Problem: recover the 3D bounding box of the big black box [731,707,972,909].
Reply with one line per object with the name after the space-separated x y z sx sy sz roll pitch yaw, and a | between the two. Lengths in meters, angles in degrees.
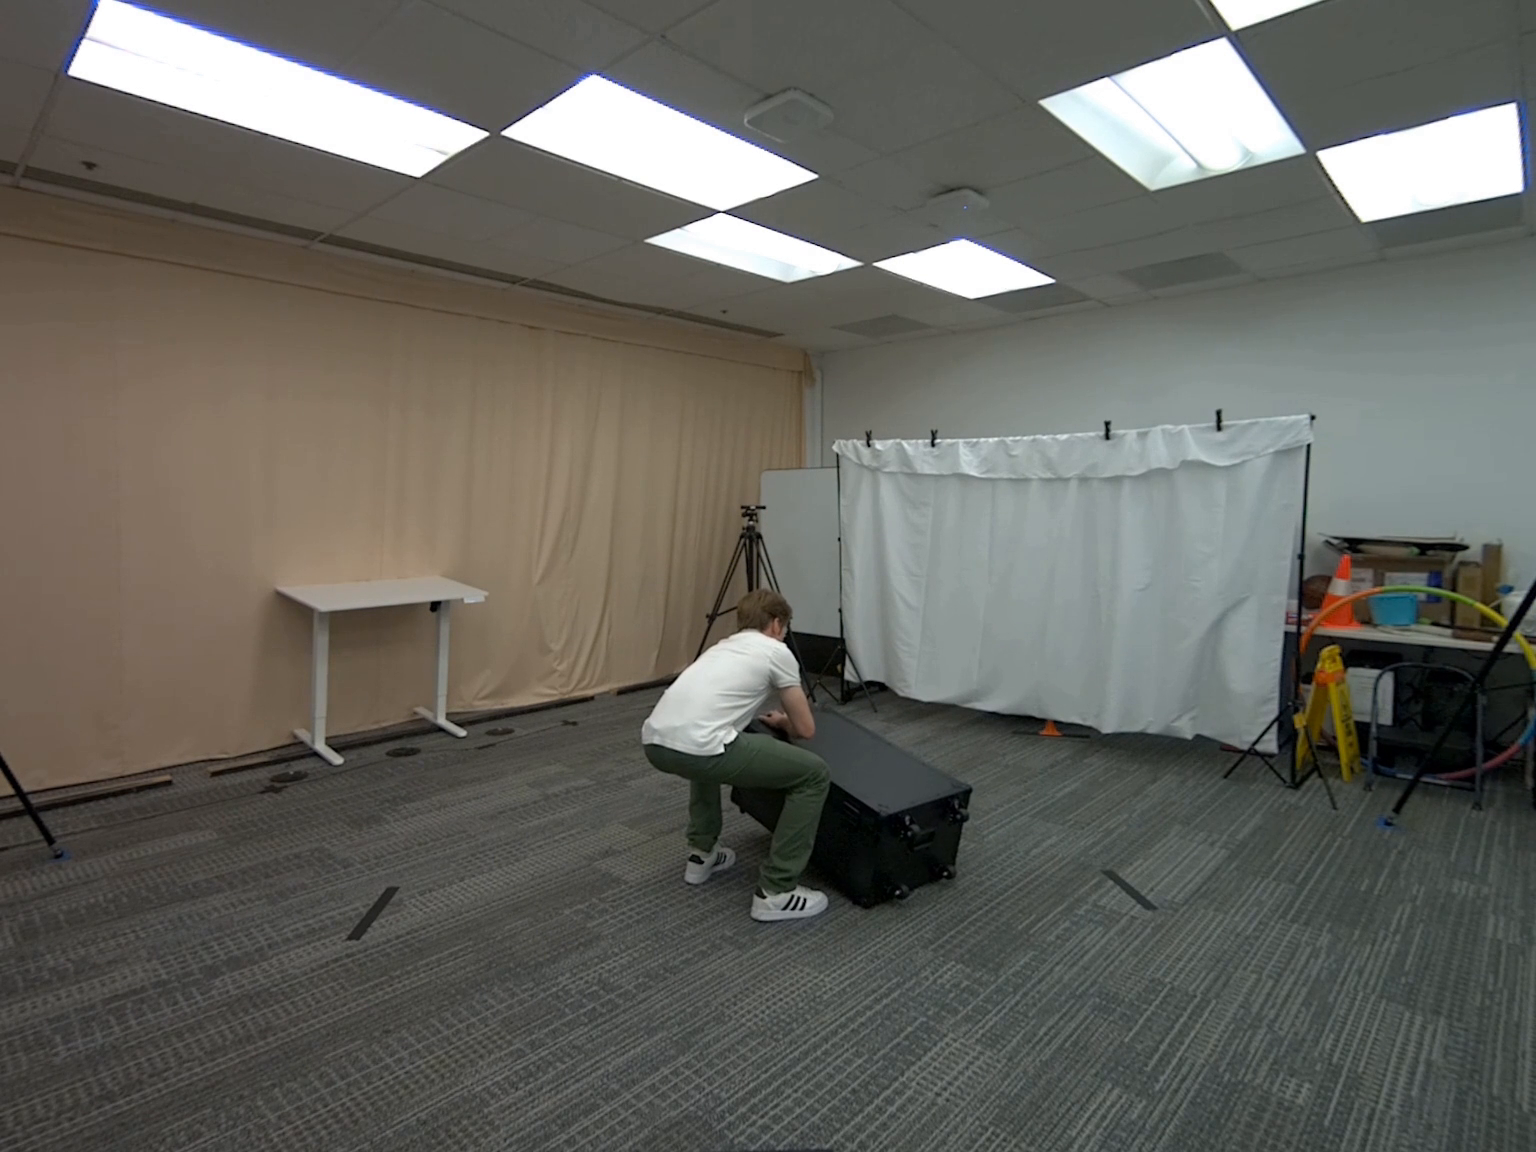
0.327 0.870 3.264 0.507 0.383 0.900 -1 15 -39 | big black box
